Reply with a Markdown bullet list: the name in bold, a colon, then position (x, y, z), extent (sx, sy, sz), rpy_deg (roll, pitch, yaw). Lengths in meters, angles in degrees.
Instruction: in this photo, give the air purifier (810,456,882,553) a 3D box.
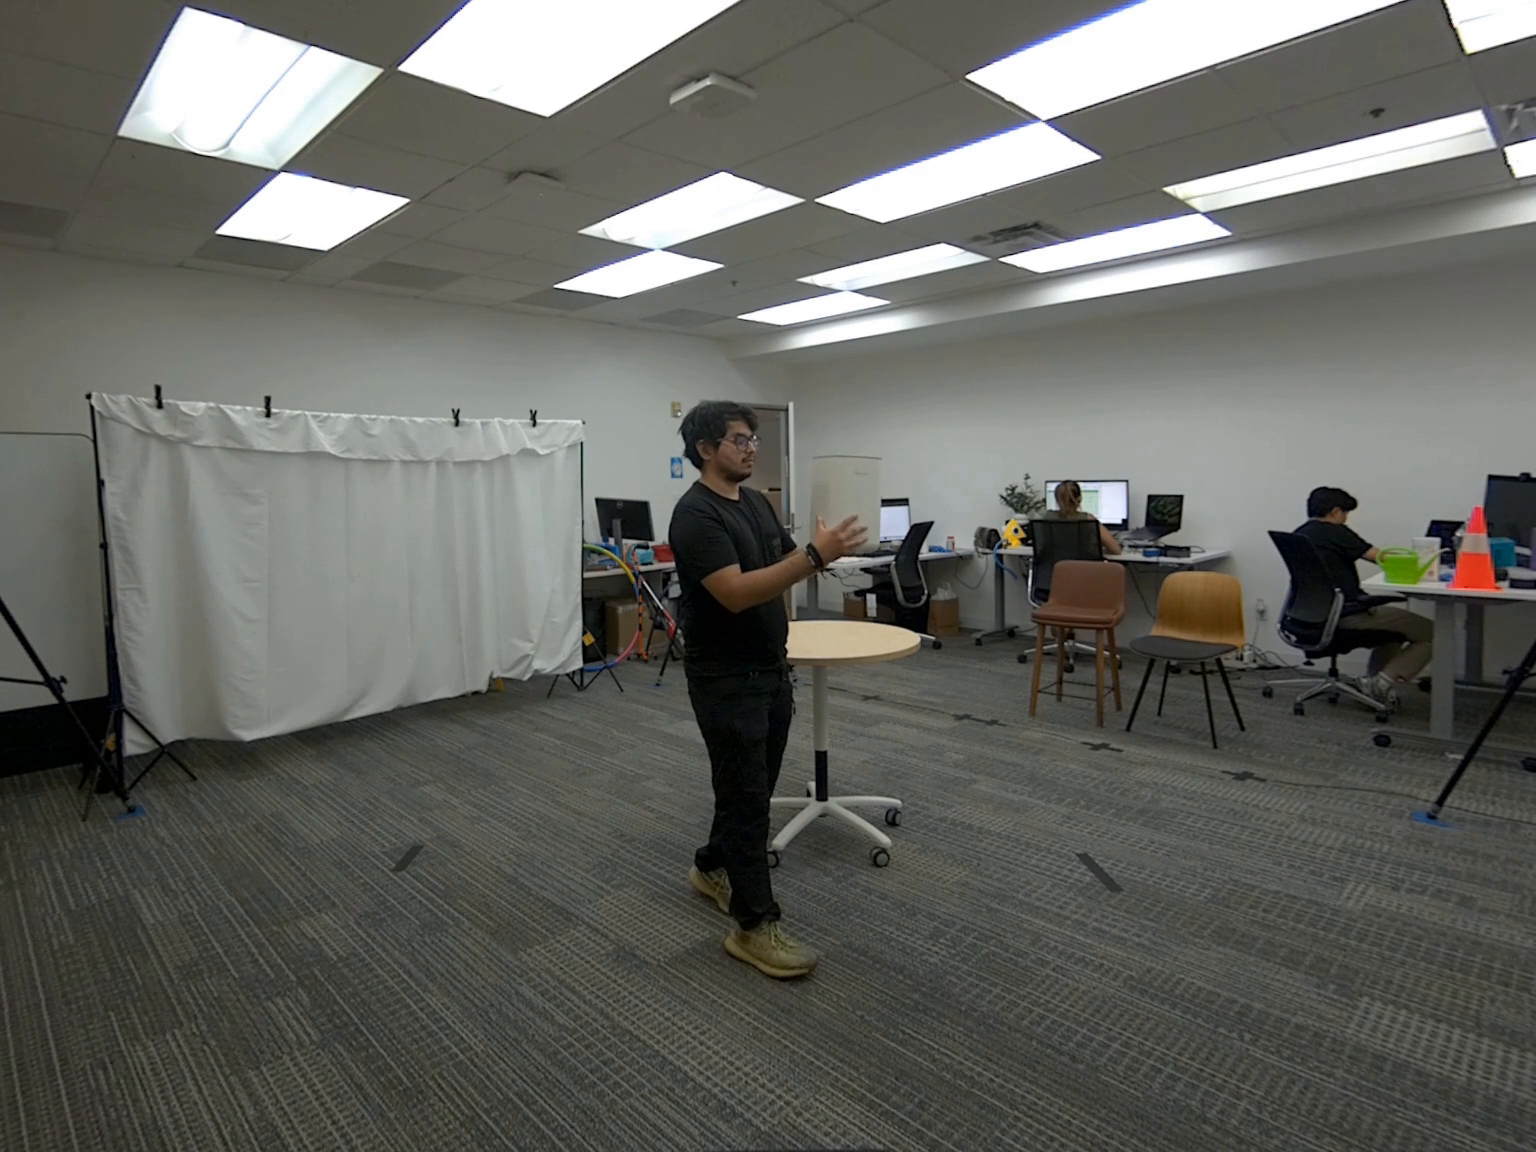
- **air purifier**: position (0.224, -0.200, 2.388), extent (0.167, 0.264, 0.176), rpy_deg (-1, 6, -24)
